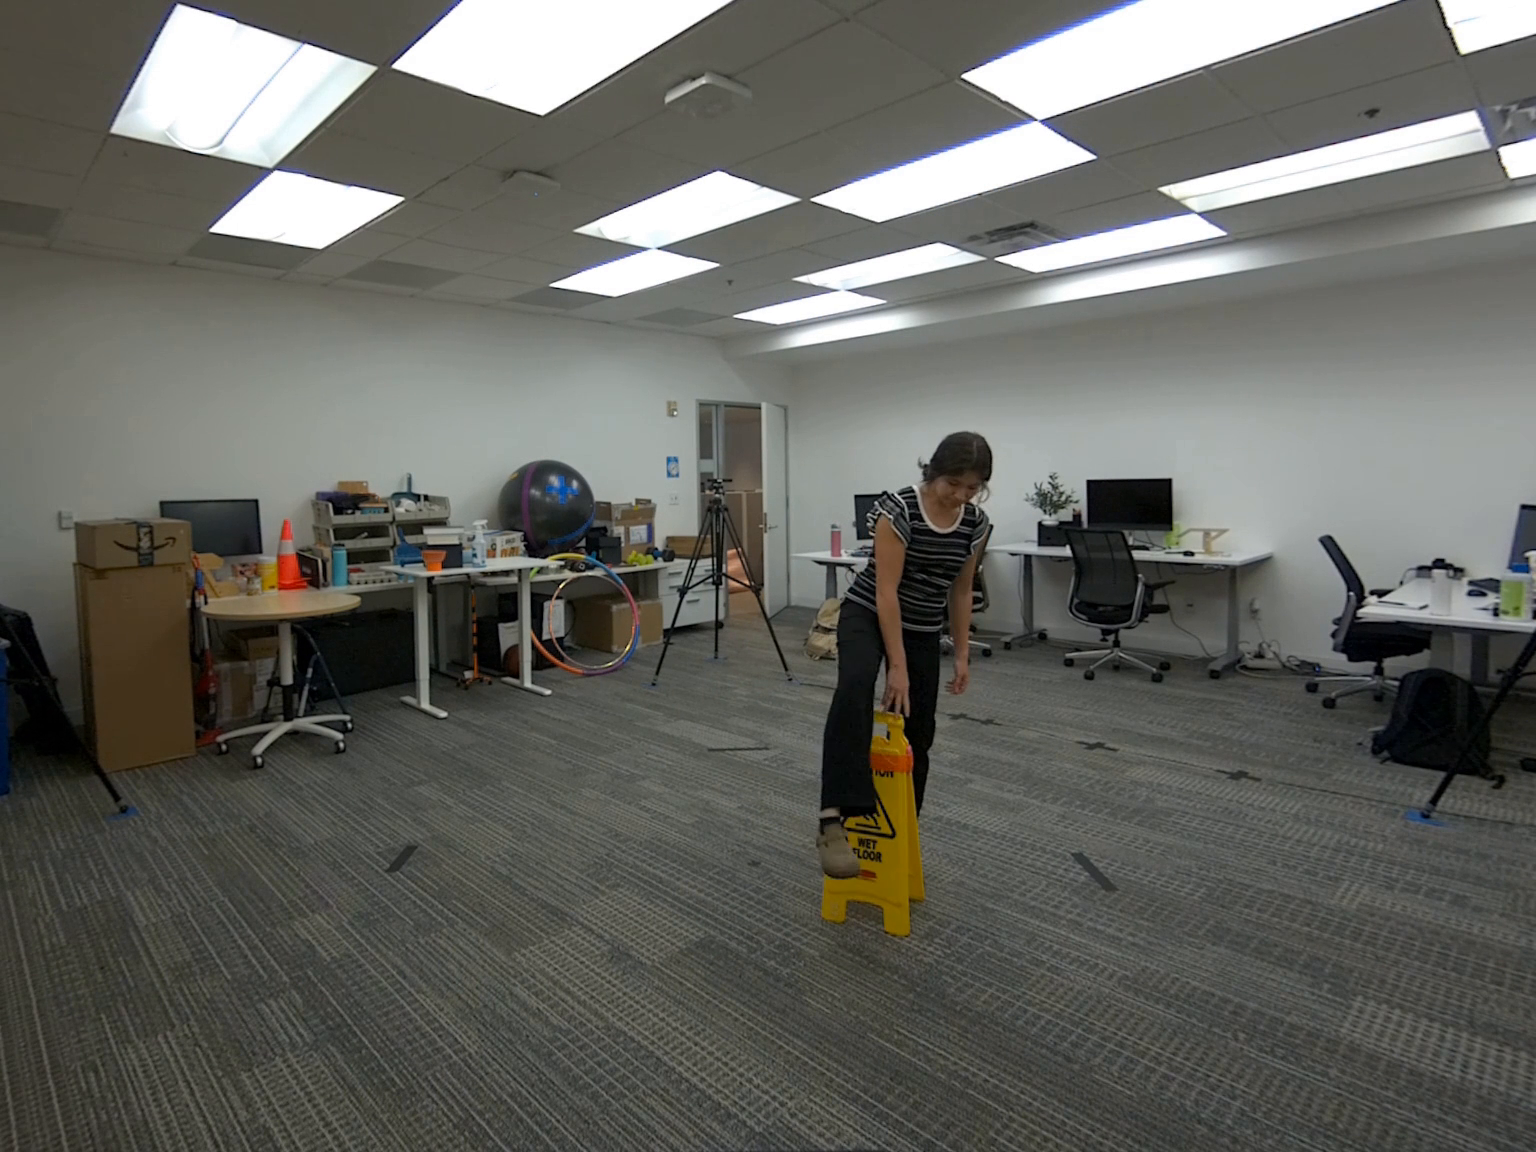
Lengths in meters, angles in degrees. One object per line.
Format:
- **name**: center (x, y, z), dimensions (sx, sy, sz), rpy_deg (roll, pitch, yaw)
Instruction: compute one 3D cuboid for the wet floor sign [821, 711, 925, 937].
- **wet floor sign**: center (0.342, 0.758, 2.734), dimensions (0.288, 0.643, 0.285), rpy_deg (0, 5, 22)
